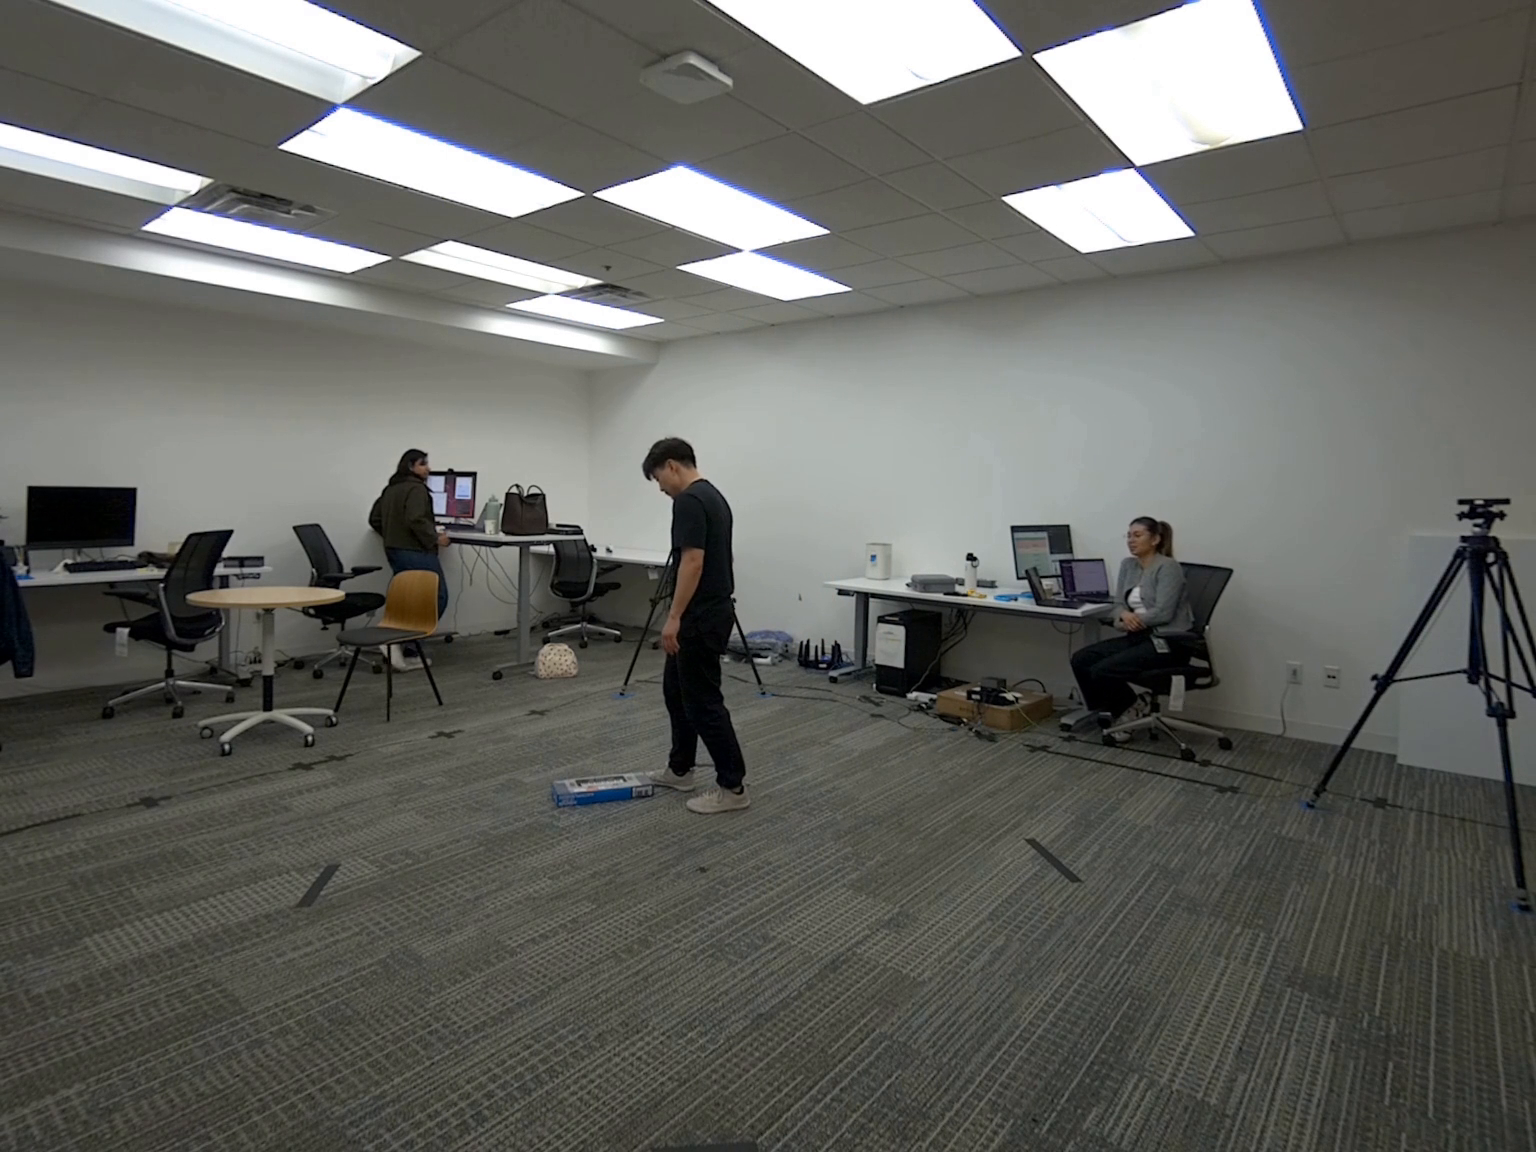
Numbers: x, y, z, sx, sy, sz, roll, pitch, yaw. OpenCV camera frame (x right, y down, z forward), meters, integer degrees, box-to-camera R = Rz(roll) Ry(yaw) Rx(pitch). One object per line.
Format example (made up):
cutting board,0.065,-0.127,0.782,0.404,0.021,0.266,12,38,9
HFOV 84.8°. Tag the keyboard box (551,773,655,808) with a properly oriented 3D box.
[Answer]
keyboard box,-0.762,0.962,3.855,0.428,0.059,0.180,-1,6,-20
